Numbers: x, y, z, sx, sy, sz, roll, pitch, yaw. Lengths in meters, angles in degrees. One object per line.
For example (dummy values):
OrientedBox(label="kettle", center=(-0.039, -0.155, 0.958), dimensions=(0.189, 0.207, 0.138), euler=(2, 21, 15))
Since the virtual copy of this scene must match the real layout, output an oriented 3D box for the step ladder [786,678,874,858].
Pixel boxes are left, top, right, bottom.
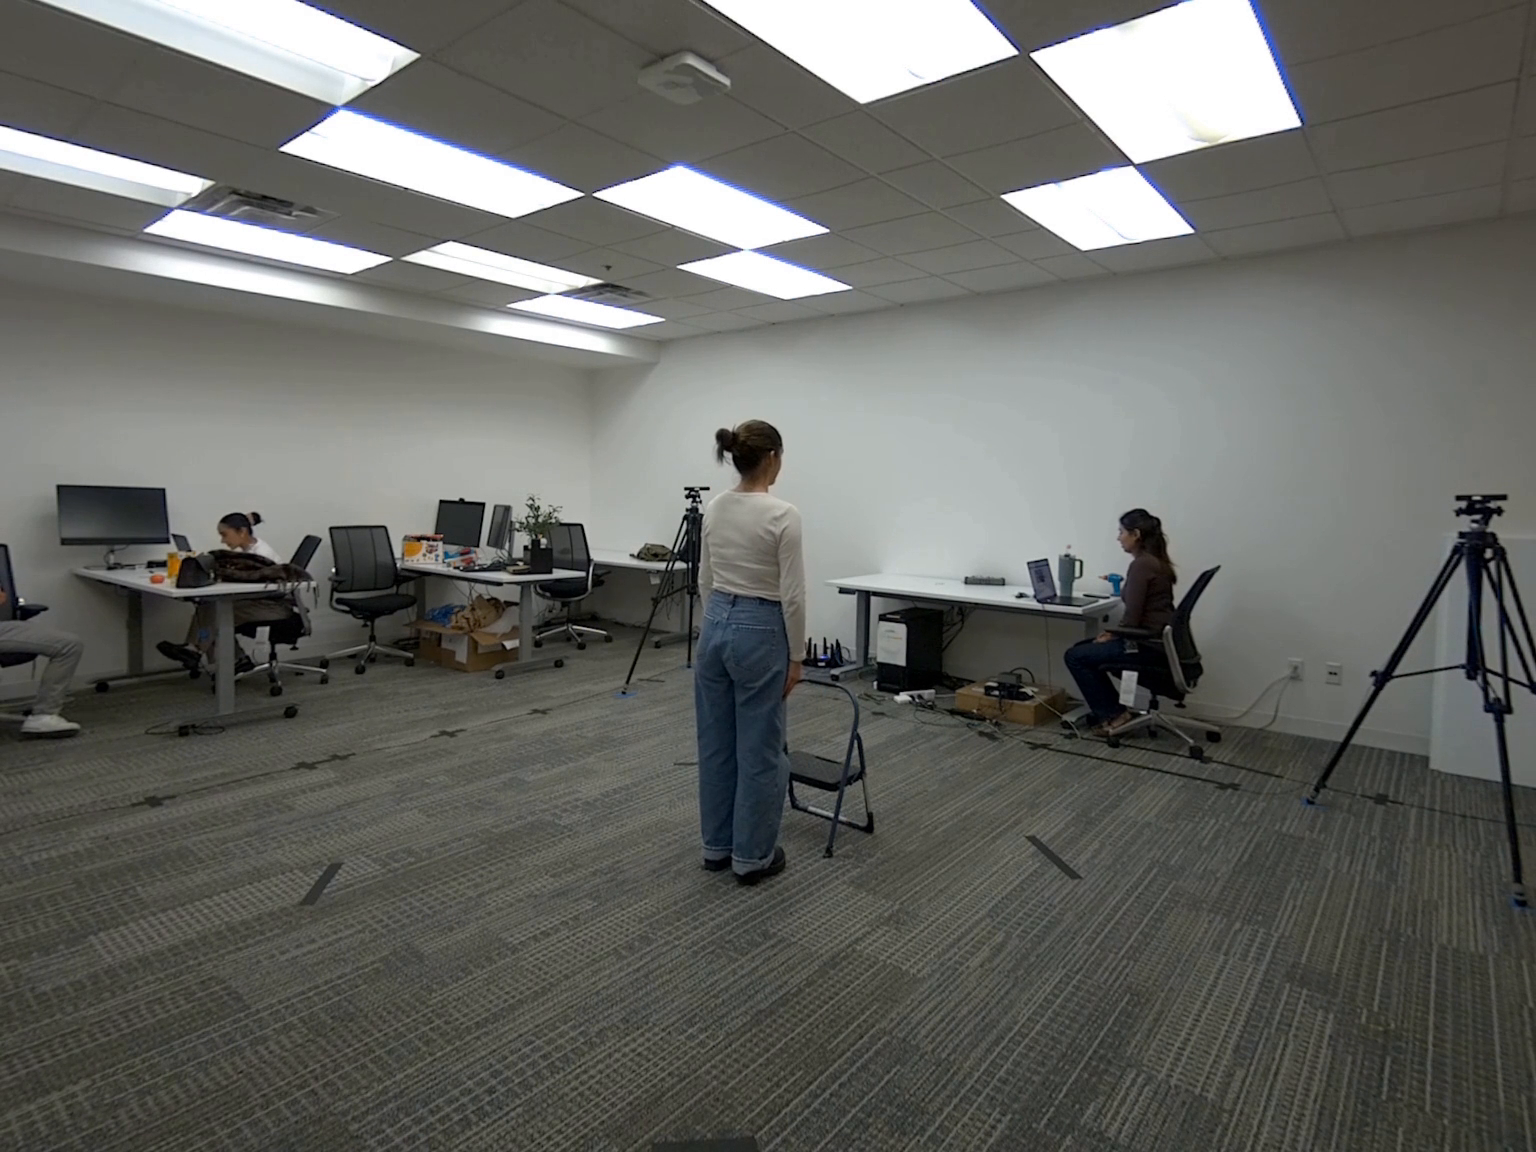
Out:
OrientedBox(label="step ladder", center=(0.169, 0.734, 3.463), dimensions=(0.445, 0.604, 0.339), euler=(5, 5, 39))
